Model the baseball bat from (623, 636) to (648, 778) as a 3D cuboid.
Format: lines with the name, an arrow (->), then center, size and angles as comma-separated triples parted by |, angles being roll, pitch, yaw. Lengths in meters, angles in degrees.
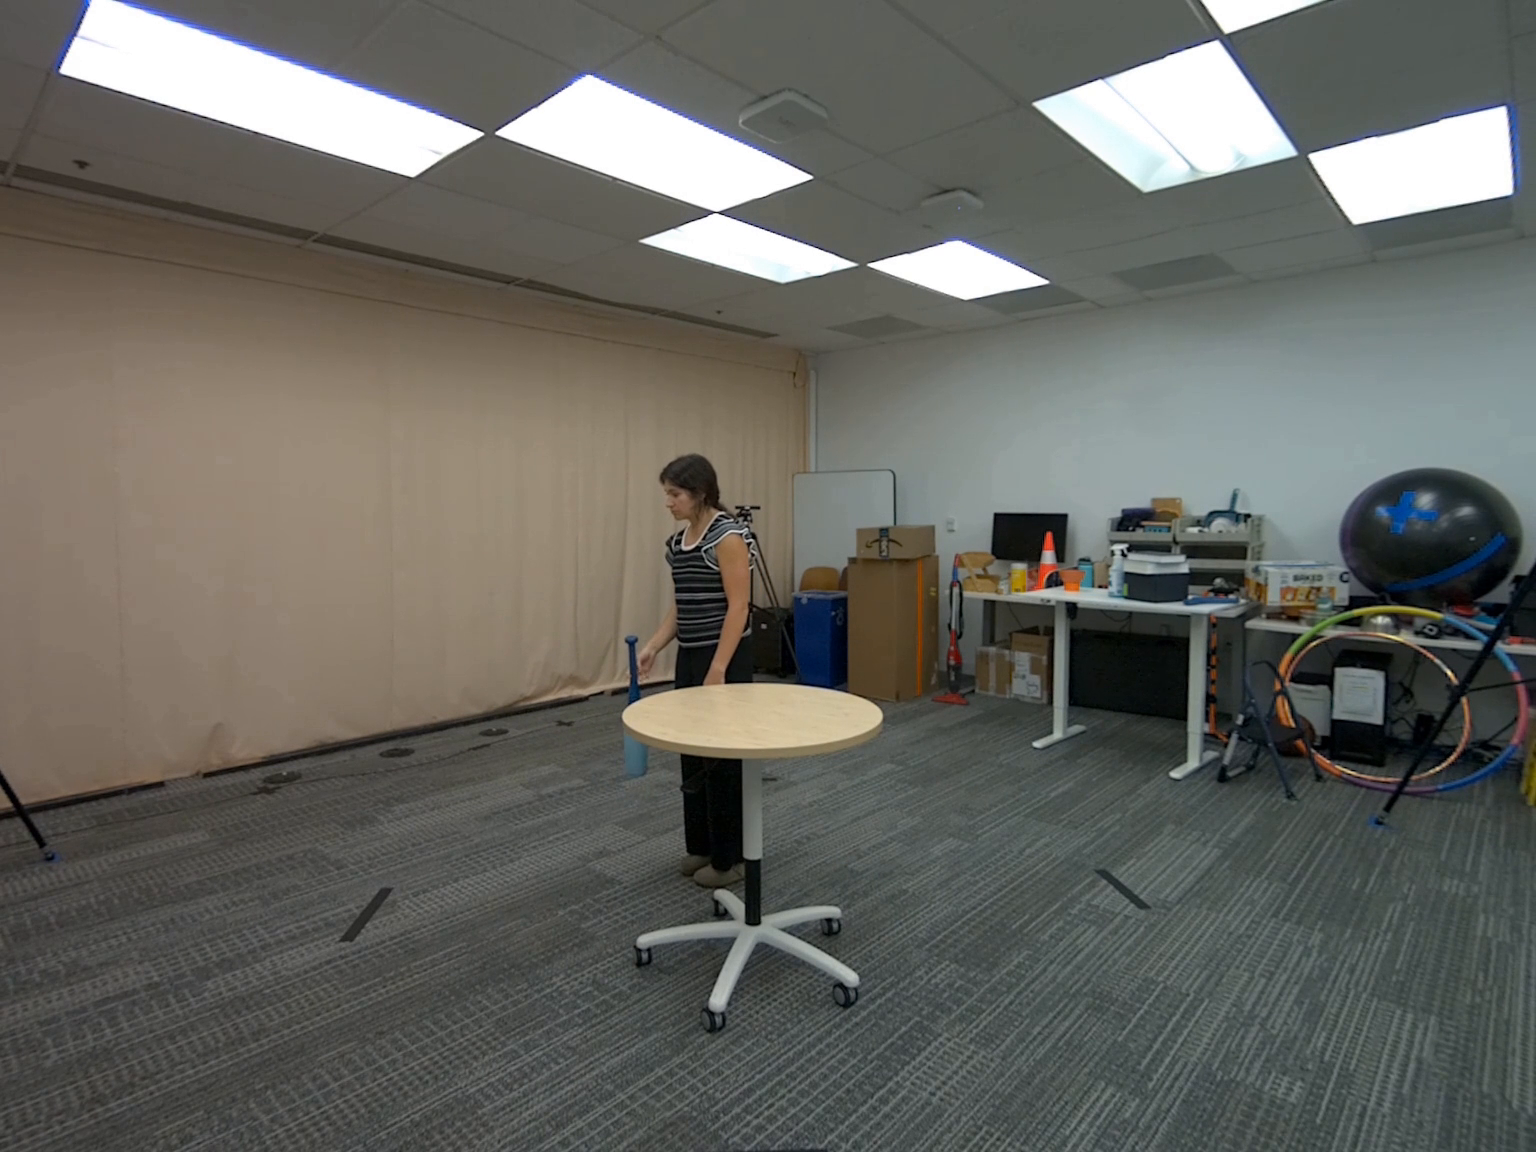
baseball bat -> -0.505, 0.500, 3.204 | 0.089, 0.540, 0.089 | -1, 9, -2
